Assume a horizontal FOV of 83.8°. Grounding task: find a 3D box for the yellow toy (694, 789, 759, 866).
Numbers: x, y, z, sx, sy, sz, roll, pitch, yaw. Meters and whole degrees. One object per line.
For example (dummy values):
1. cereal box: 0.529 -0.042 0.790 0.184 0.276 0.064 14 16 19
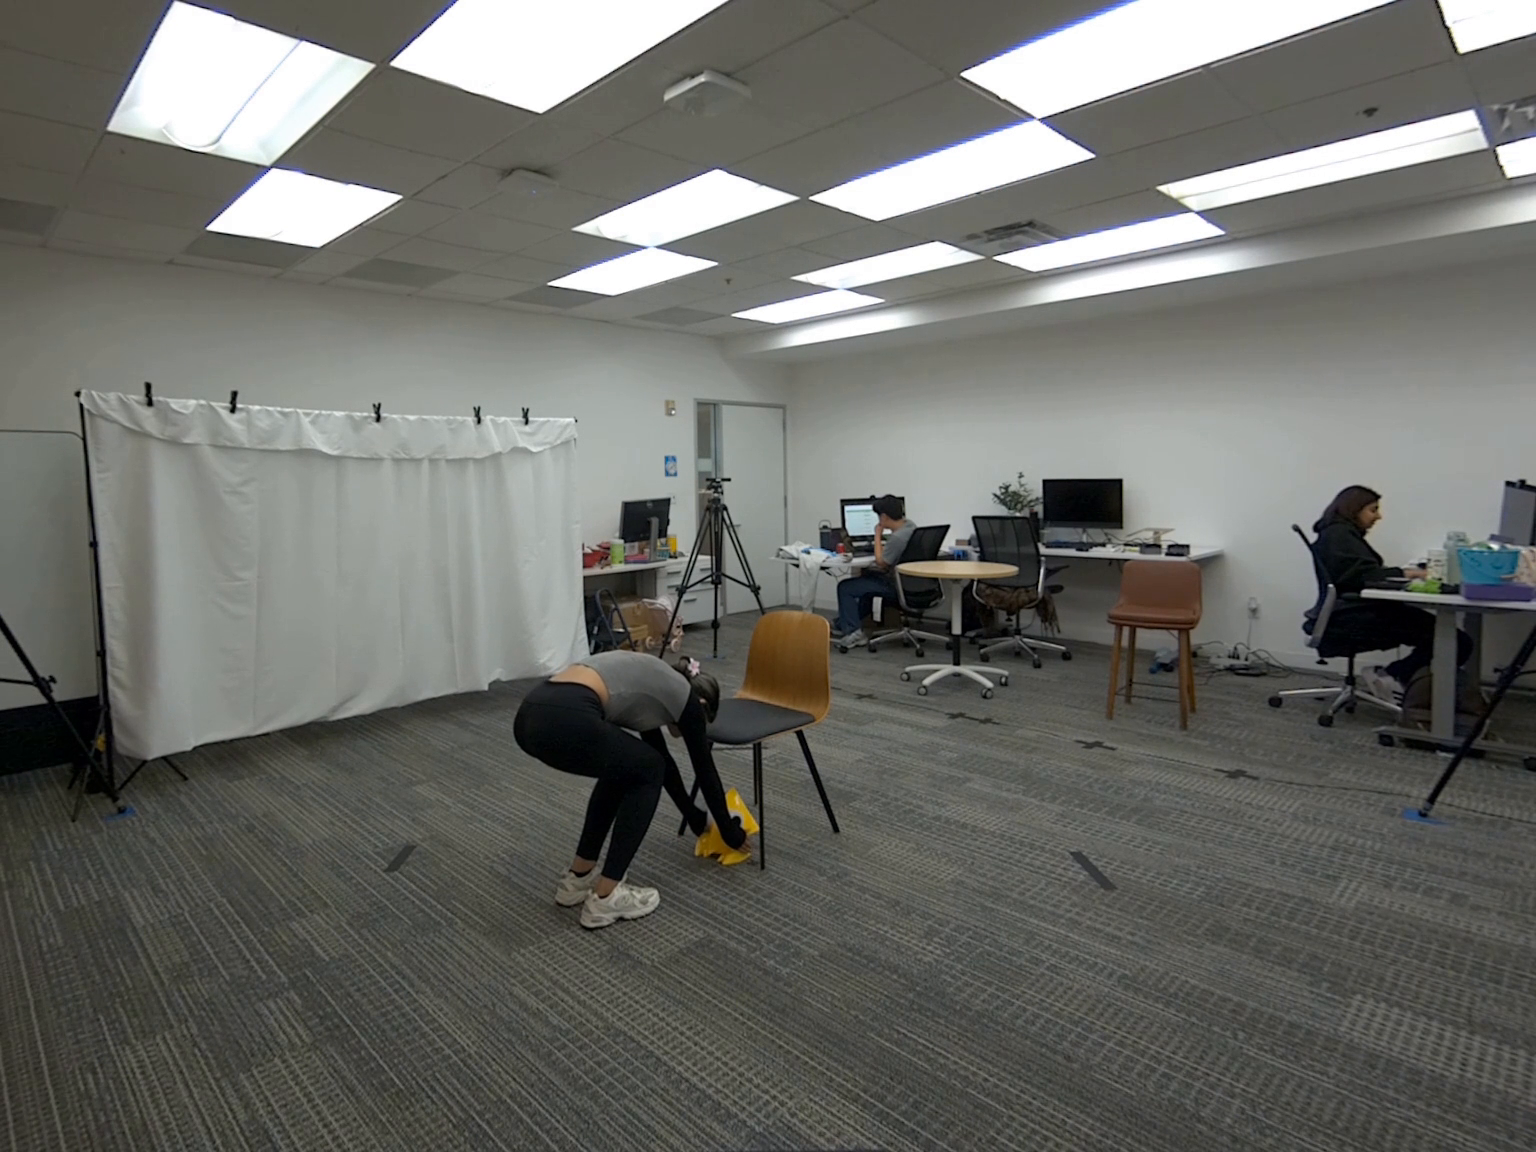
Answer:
1. yellow toy: -0.161 0.923 3.191 0.211 0.230 0.188 4 5 36
